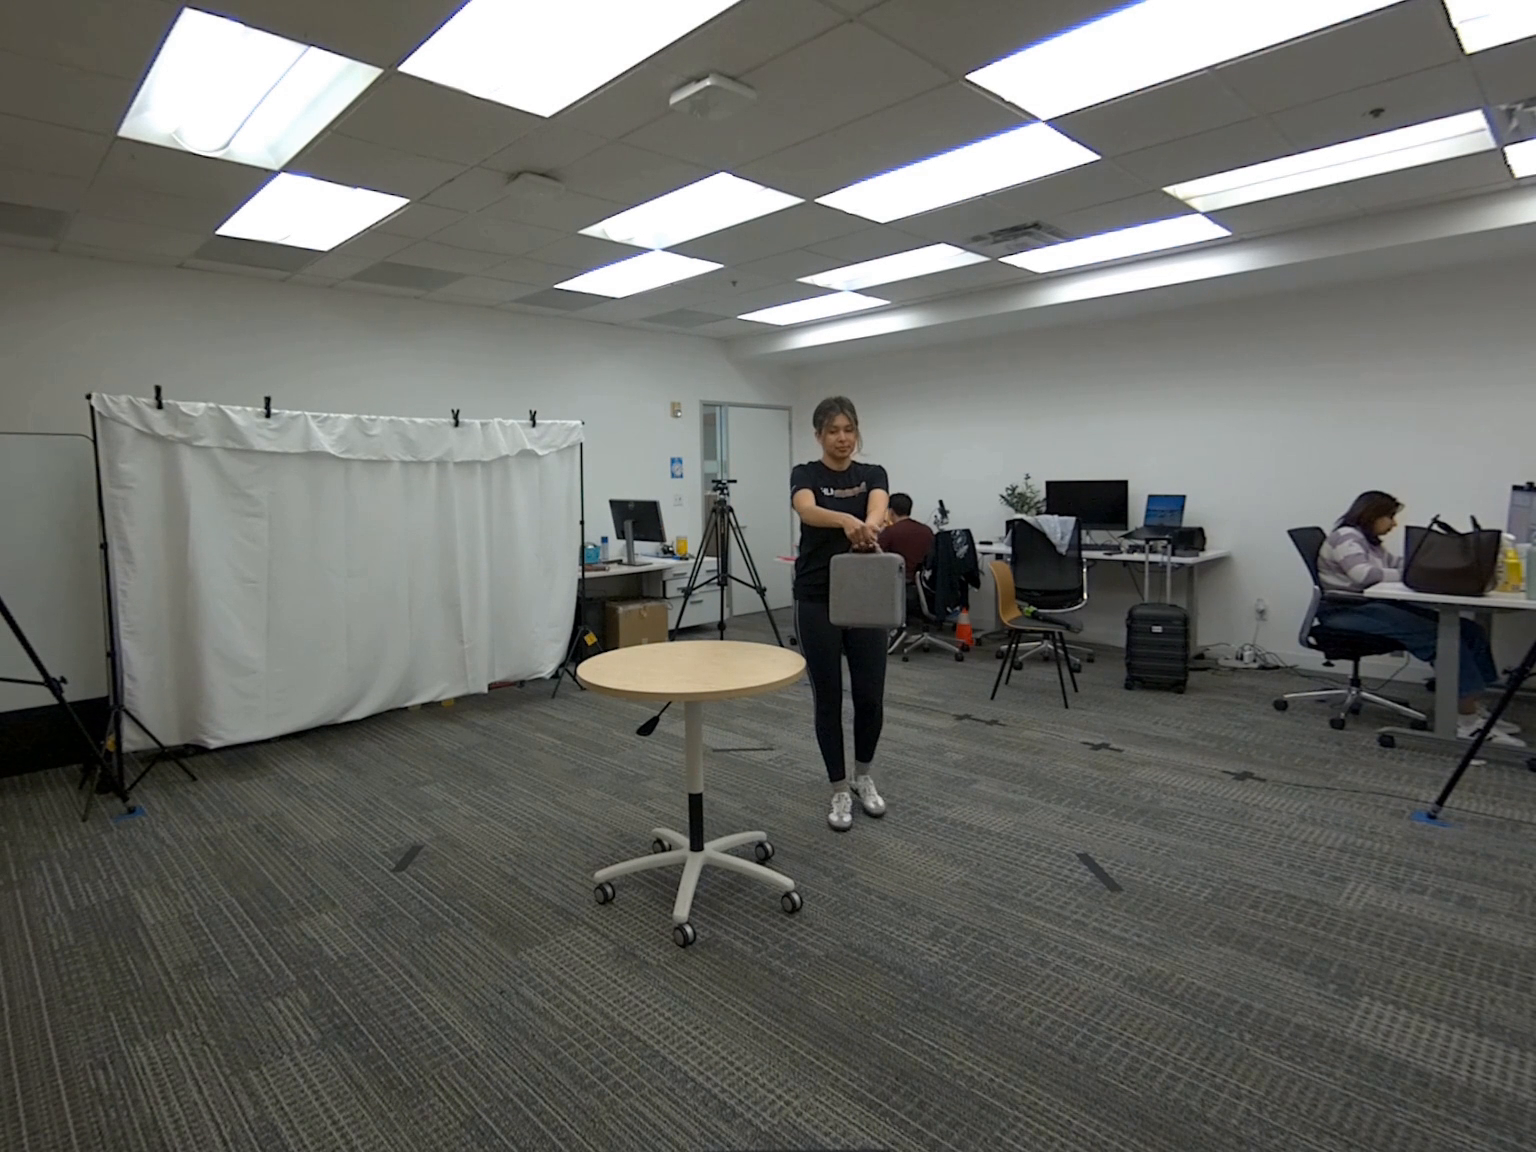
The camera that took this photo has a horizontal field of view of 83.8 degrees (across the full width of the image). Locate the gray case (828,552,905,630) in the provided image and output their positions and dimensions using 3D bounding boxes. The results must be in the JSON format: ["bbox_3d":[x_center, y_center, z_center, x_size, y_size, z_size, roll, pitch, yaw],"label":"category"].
[{"bbox_3d":[0.346,0.051,2.953,0.263,0.262,0.101,-3,-5,32],"label":"gray case"}]
